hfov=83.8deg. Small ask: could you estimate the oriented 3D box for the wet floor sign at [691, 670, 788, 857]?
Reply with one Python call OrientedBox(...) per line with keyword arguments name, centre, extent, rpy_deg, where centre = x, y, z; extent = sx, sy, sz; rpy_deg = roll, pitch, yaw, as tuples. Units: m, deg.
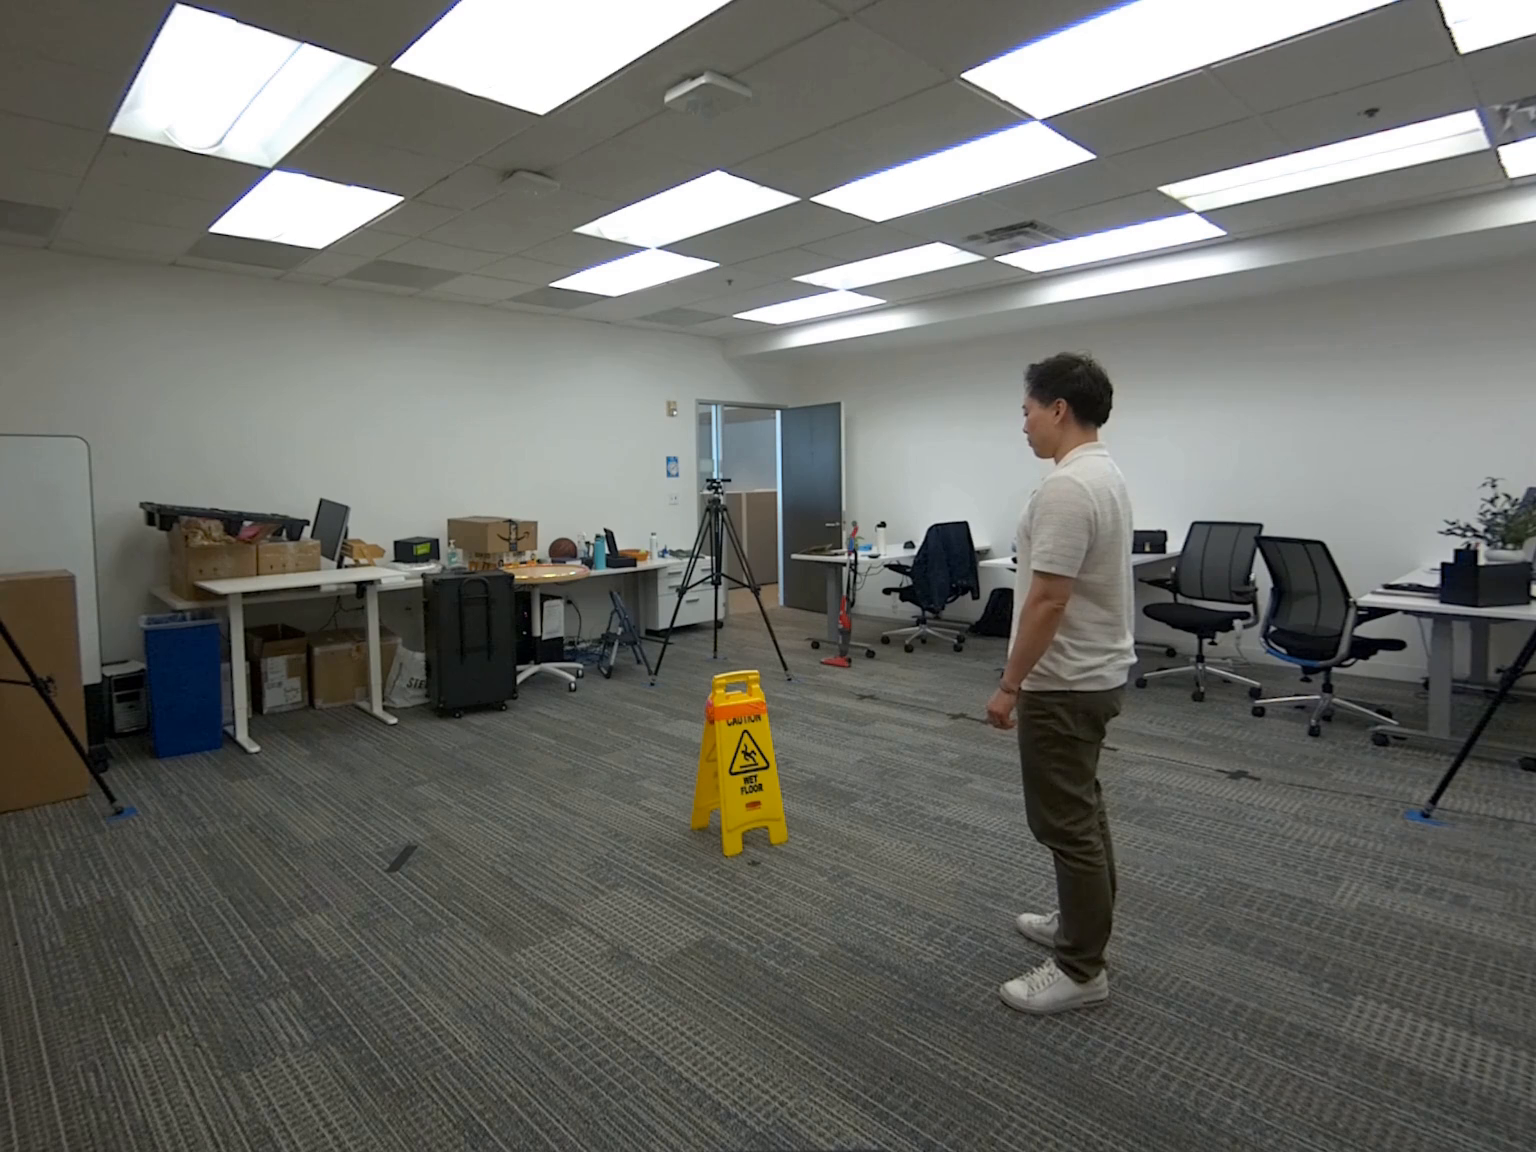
OrientedBox(name="wet floor sign", centre=(-0.118, 0.695, 3.334), extent=(0.276, 0.644, 0.298), rpy_deg=(-3, 5, -30))
